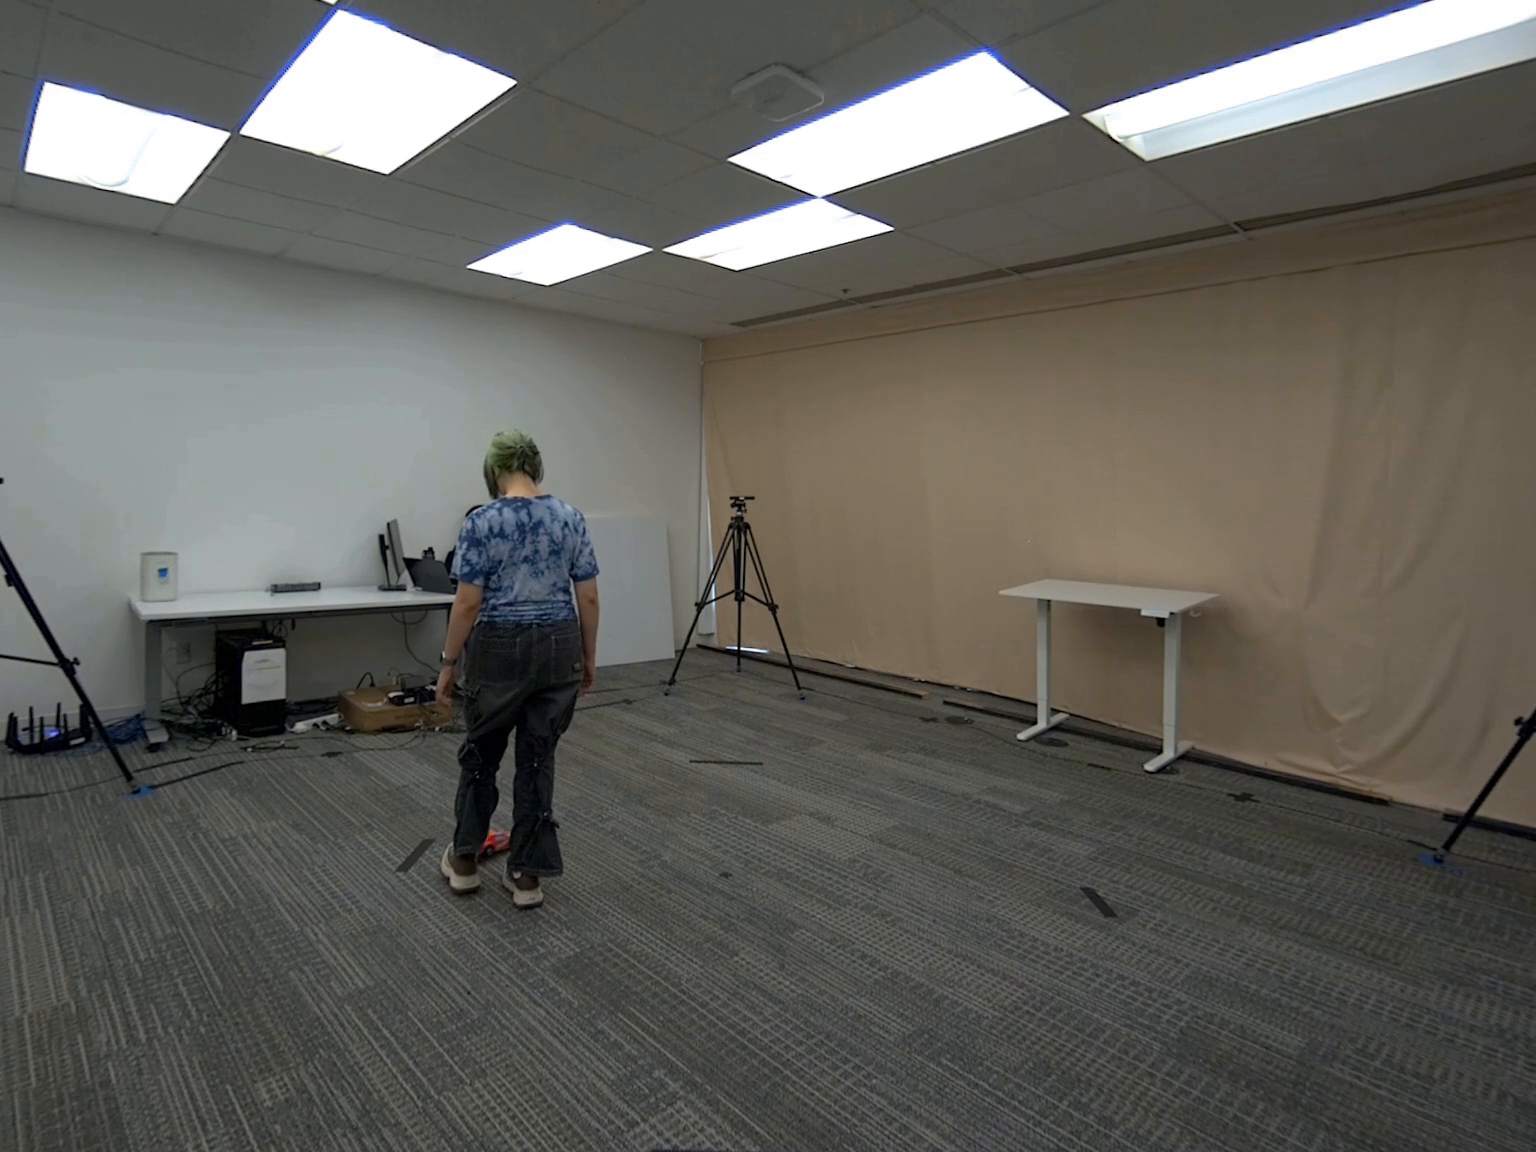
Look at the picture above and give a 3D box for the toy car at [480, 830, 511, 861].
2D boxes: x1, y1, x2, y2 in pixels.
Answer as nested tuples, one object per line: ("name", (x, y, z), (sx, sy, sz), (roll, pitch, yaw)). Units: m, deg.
("toy car", (-1.076, 1.031, 3.237), (0.133, 0.084, 0.247), (4, -12, 35))
